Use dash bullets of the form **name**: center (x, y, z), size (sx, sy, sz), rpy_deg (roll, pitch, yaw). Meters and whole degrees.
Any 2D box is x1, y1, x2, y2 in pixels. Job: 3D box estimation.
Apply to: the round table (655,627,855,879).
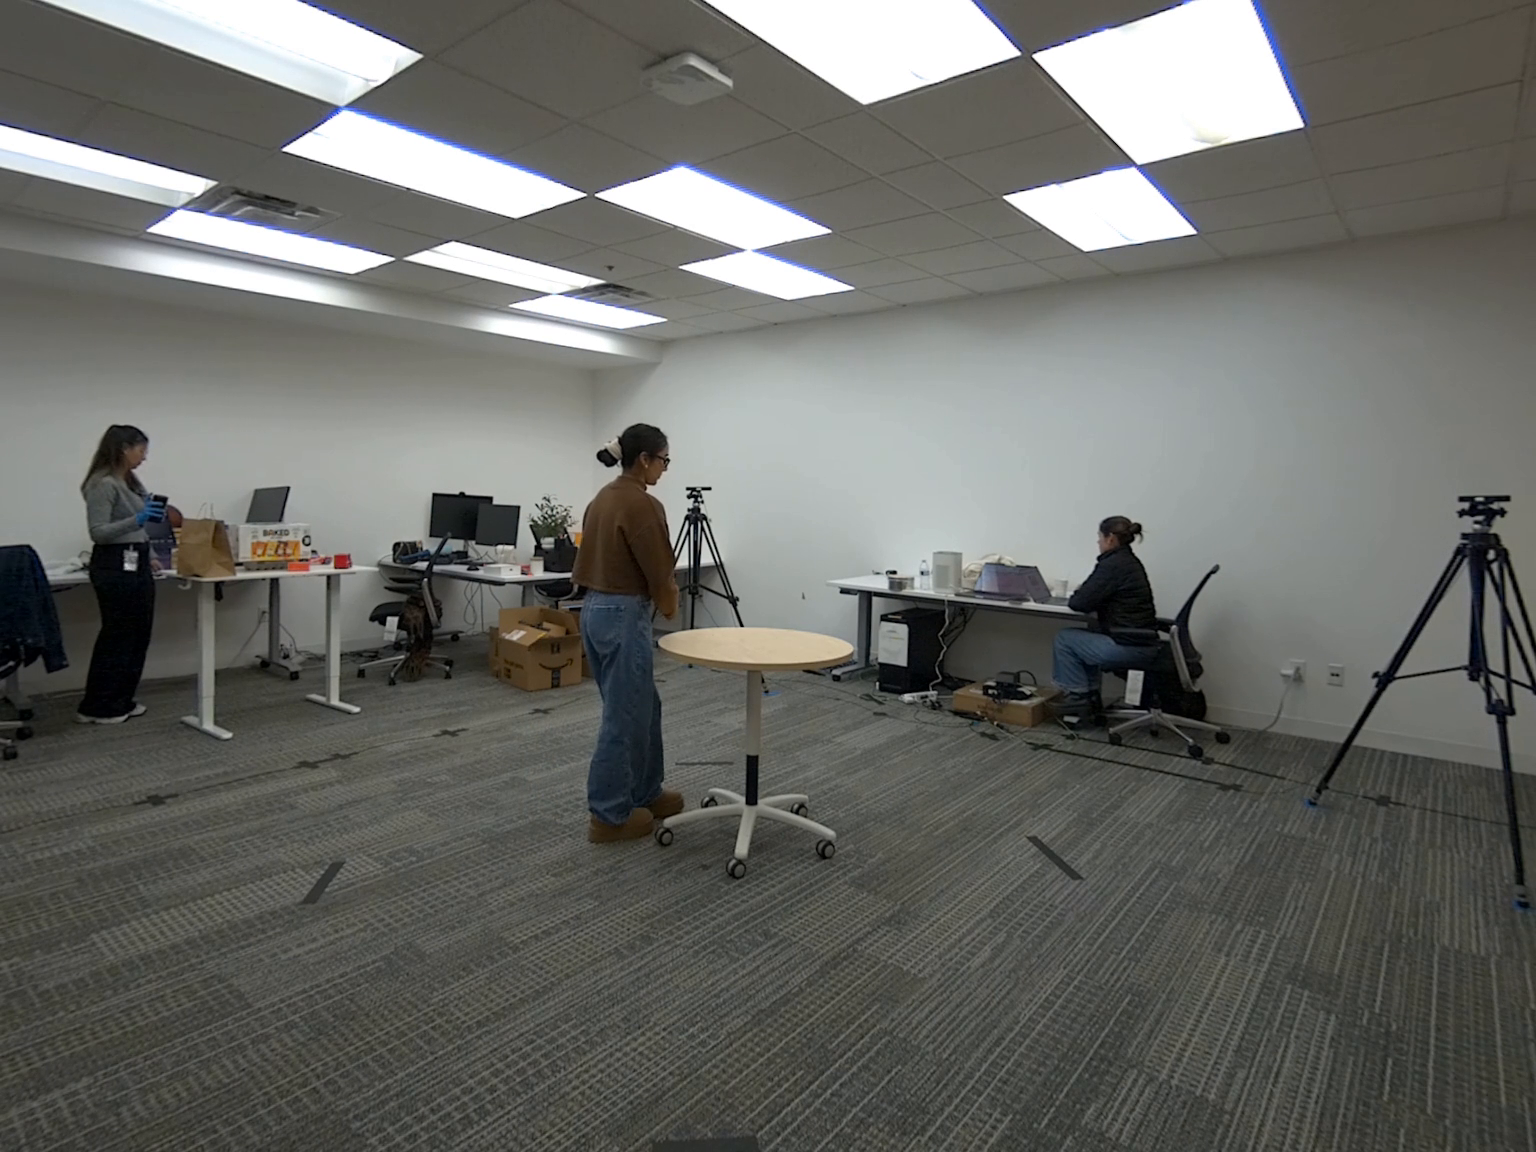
- **round table**: center (-0.070, 0.655, 3.365), size (0.763, 0.791, 0.768), rpy_deg (1, 4, -2)
